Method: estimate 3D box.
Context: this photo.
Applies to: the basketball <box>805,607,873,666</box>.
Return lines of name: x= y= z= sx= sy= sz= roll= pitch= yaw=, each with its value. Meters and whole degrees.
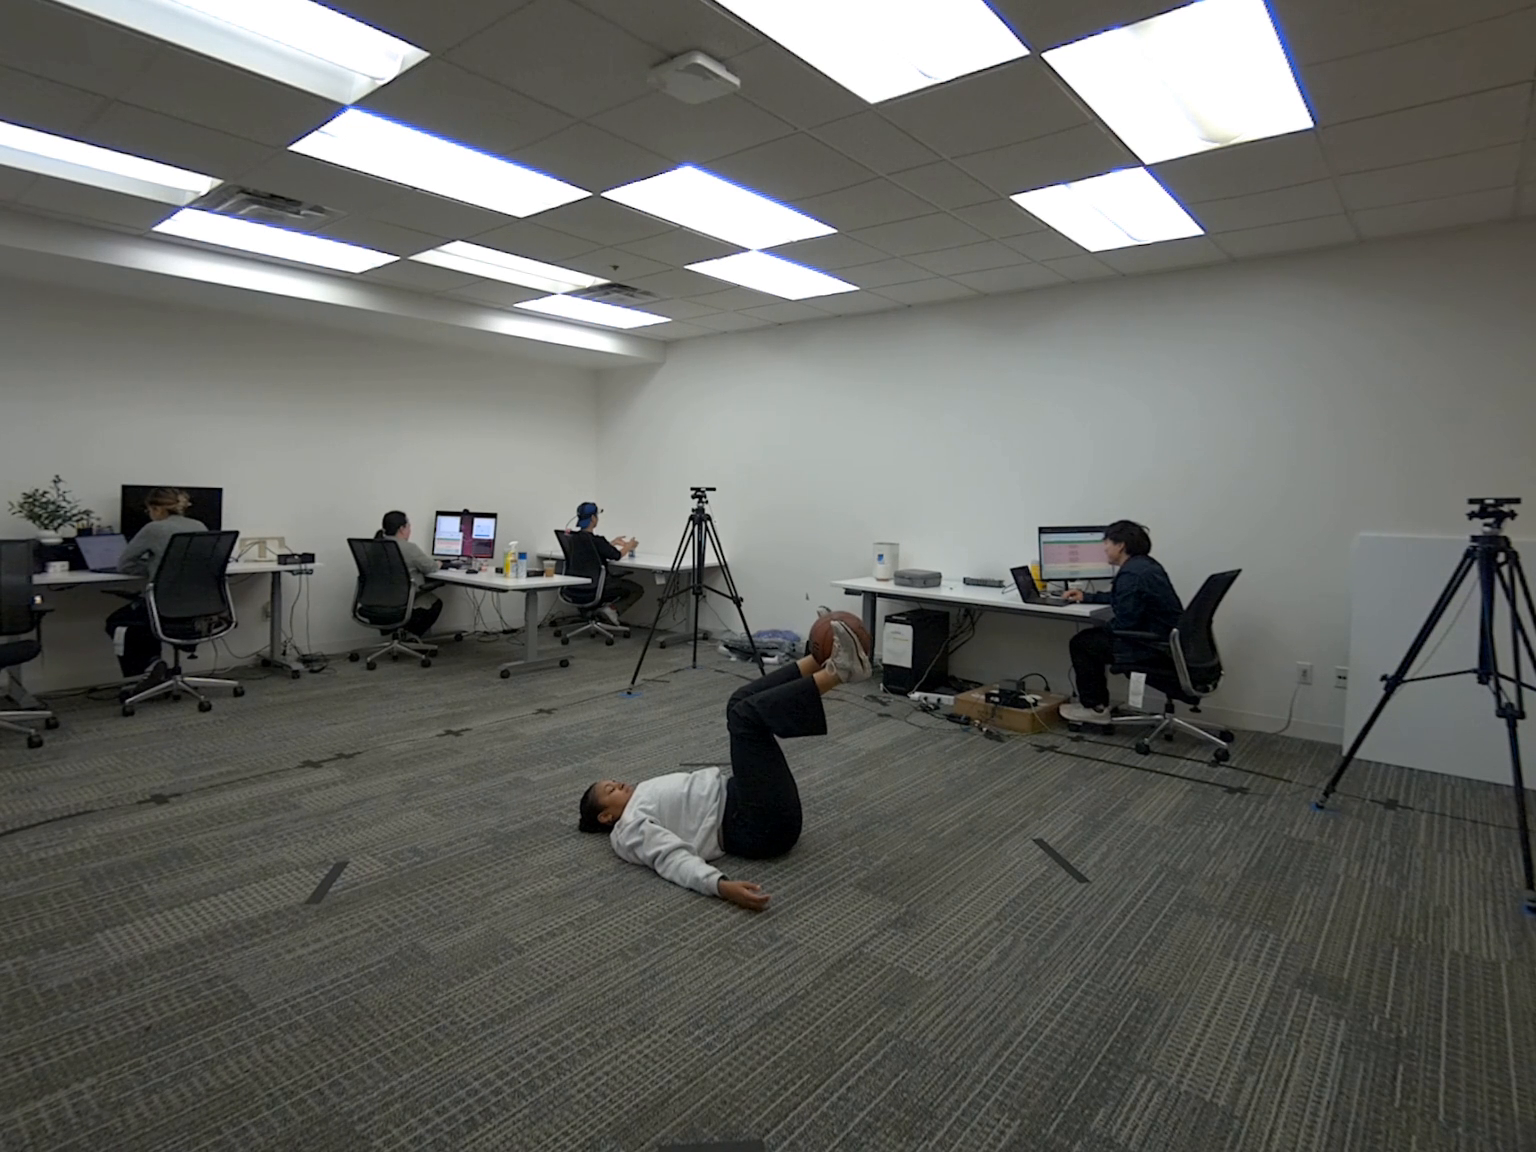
basketball: x=0.264 y=0.256 z=3.314 sx=0.236 sy=0.234 sz=0.238 roll=-2 pitch=8 yaw=-2
